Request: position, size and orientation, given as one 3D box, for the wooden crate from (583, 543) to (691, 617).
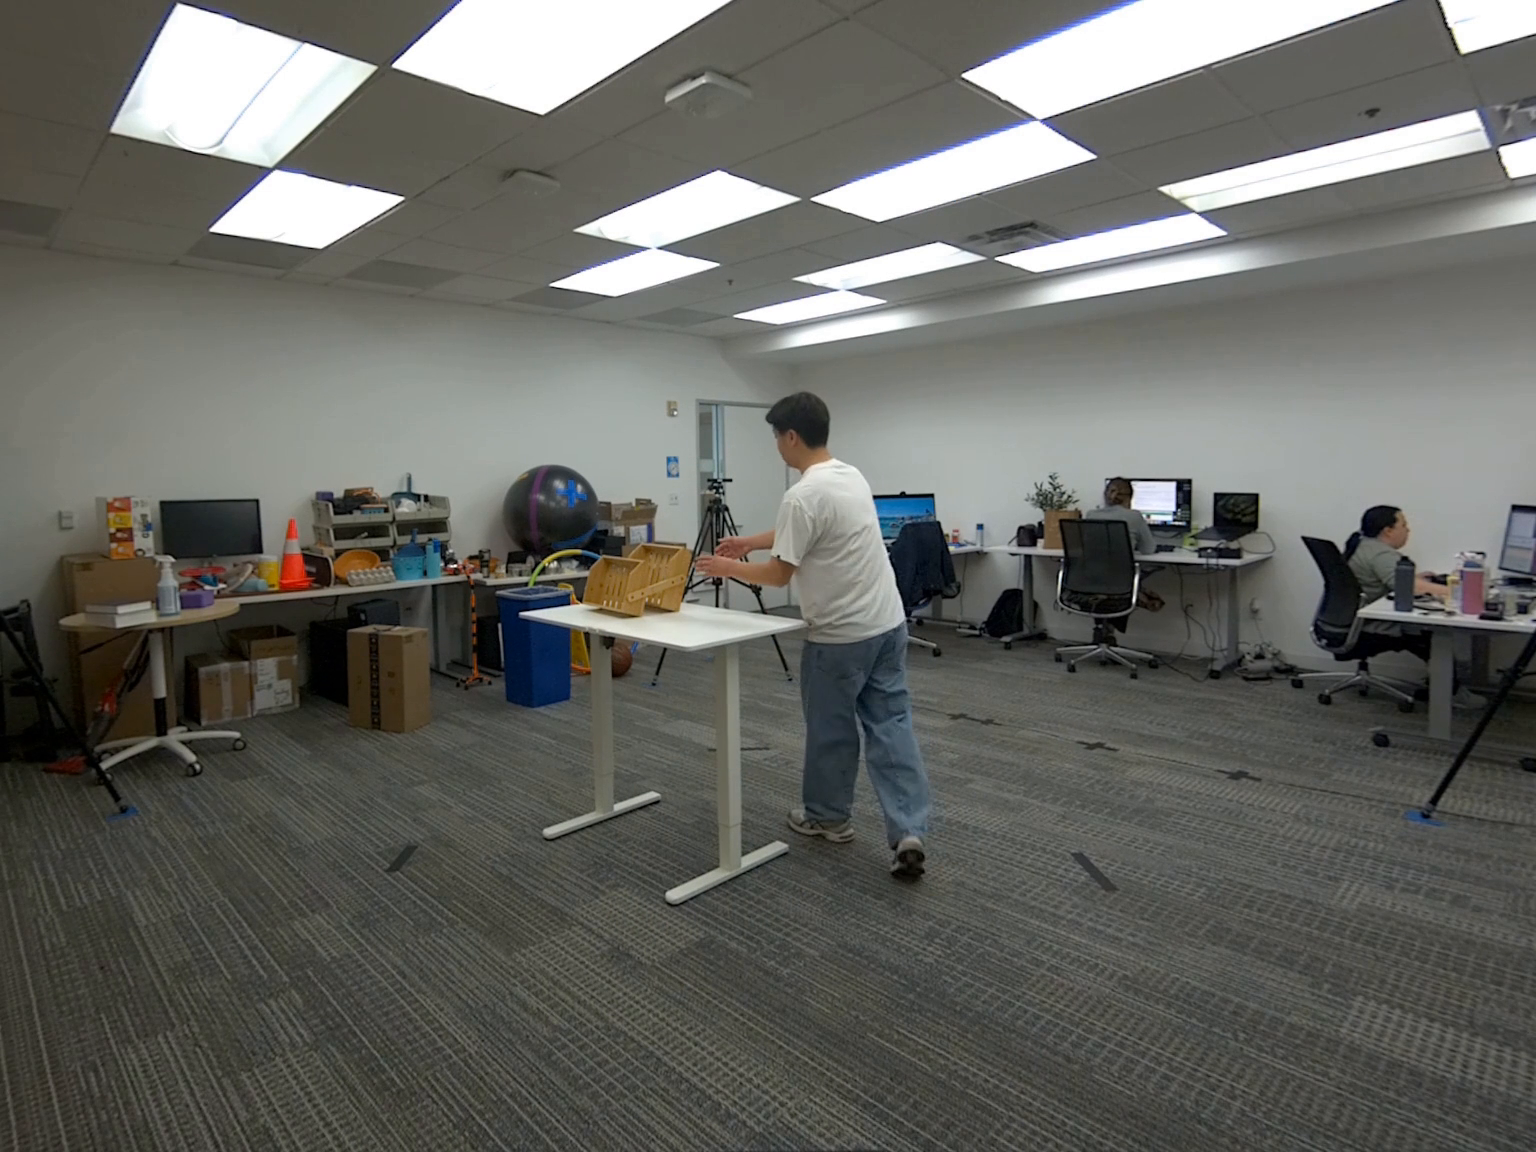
[{"bbox_3d":[-0.526,0.003,3.394,0.264,0.303,0.334,16,-7,-40],"label":"wooden crate"}]
